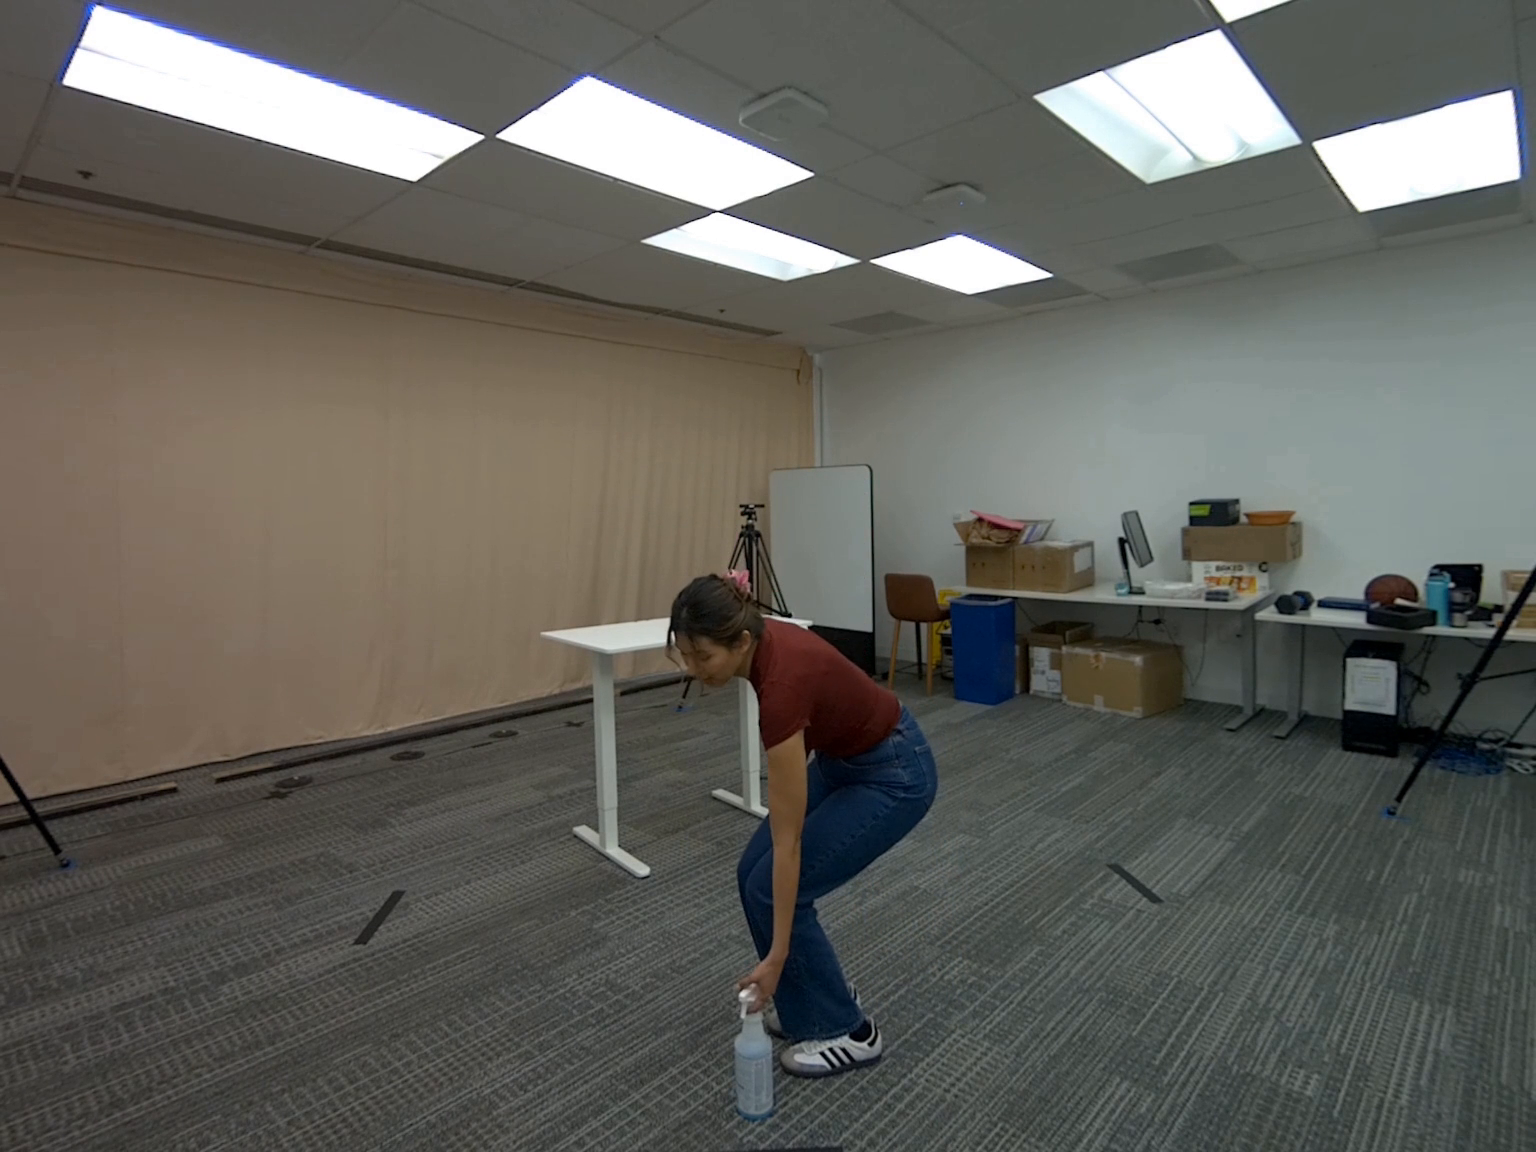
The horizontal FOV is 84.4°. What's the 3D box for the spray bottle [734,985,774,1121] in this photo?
[{"bbox_3d":[-0.029,1.077,1.945,0.087,0.296,0.090,-5,7,-39],"label":"spray bottle"}]
